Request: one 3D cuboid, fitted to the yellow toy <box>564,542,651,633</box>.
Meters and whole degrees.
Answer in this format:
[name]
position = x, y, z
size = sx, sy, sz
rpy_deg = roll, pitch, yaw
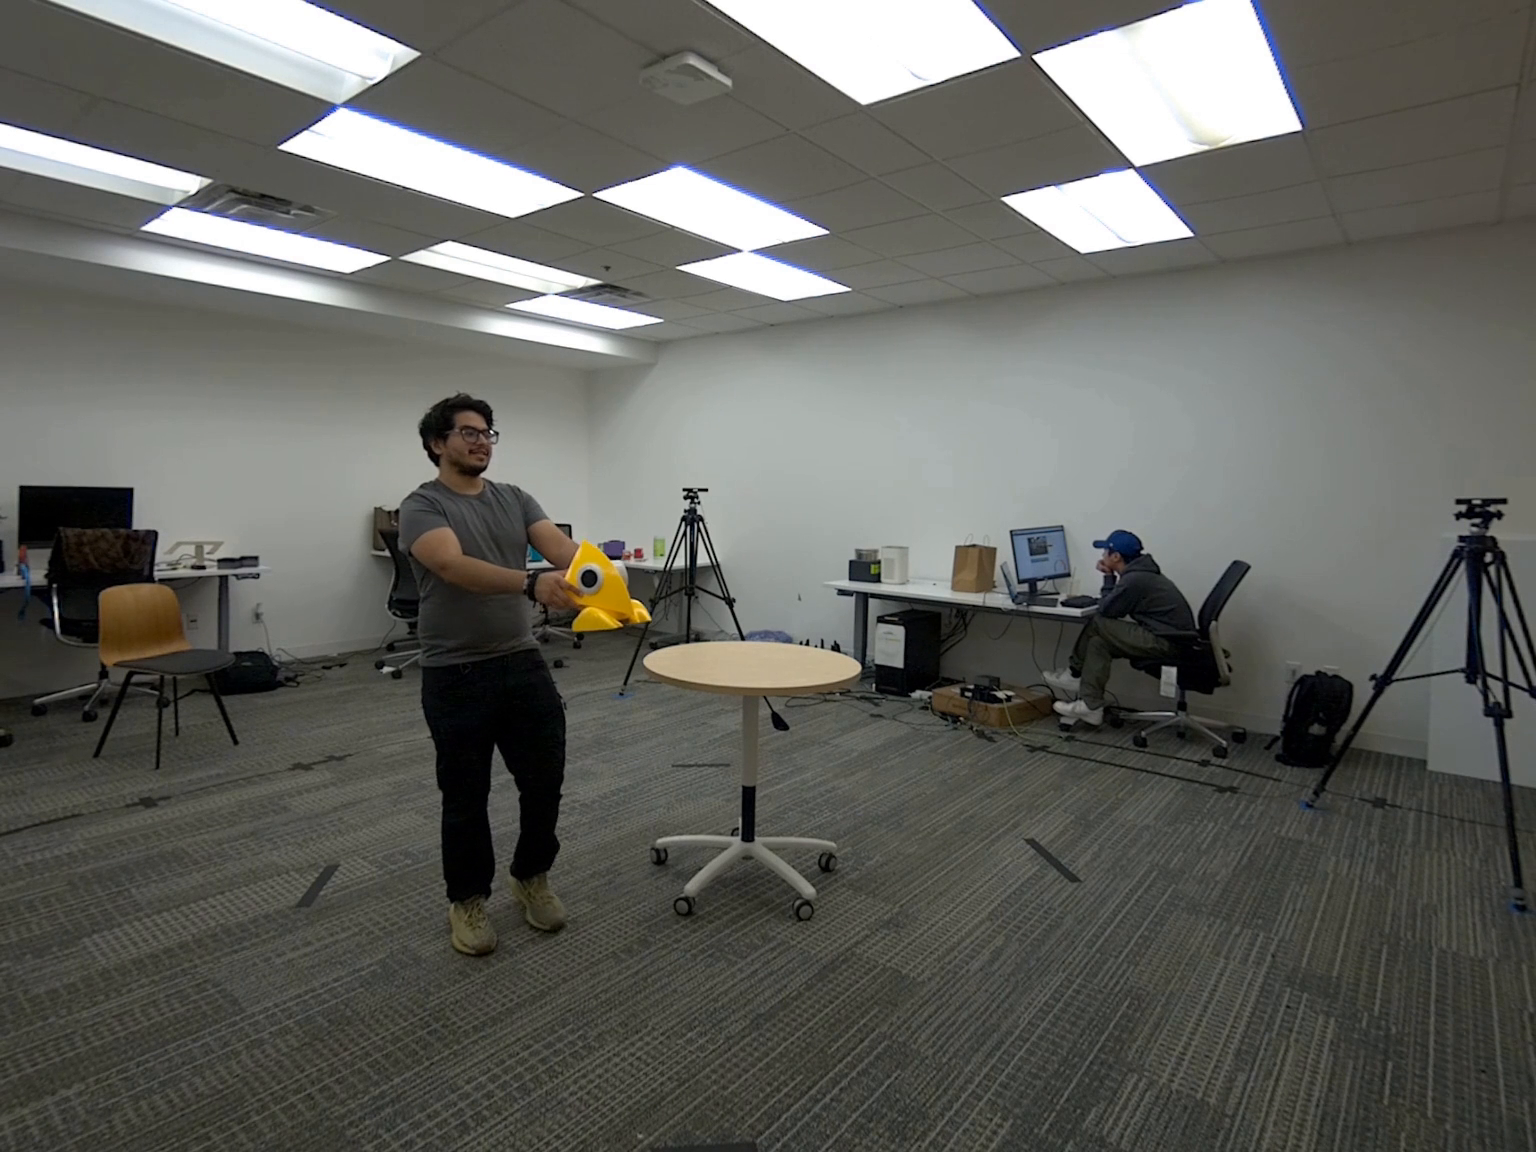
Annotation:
[yellow toy]
position = -0.436, 0.017, 2.225
size = 0.198, 0.231, 0.199
rpy_deg = -6, 1, 36
